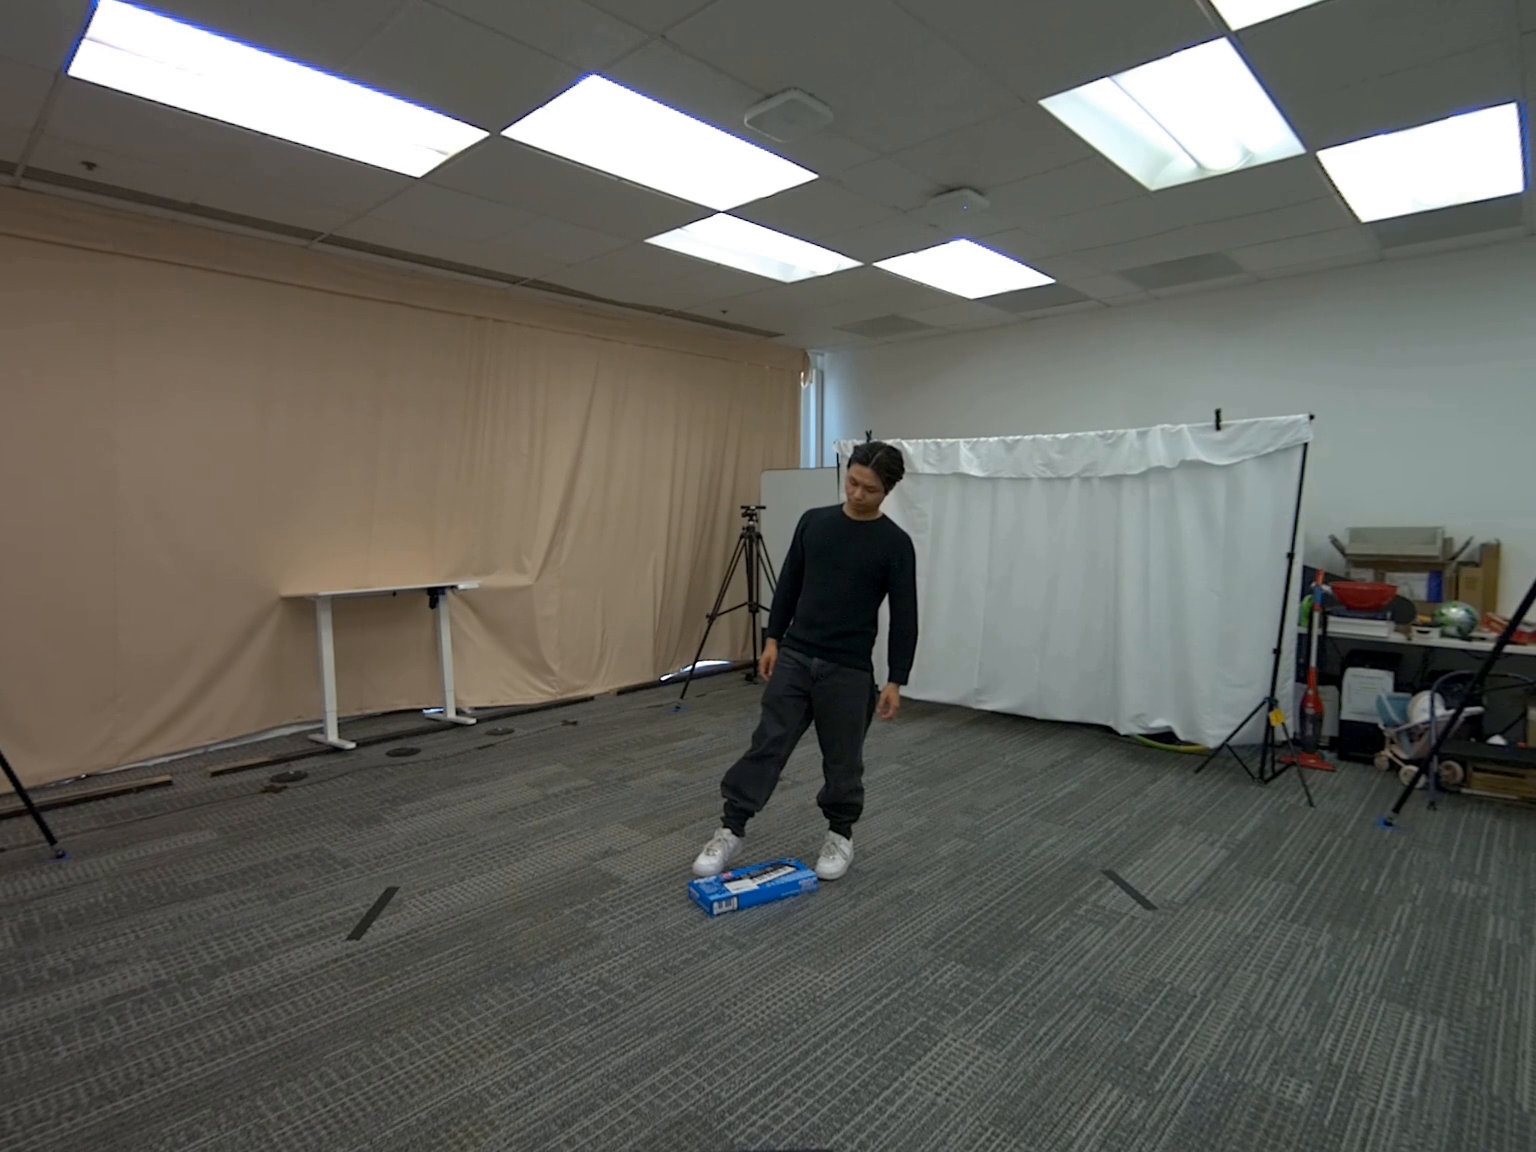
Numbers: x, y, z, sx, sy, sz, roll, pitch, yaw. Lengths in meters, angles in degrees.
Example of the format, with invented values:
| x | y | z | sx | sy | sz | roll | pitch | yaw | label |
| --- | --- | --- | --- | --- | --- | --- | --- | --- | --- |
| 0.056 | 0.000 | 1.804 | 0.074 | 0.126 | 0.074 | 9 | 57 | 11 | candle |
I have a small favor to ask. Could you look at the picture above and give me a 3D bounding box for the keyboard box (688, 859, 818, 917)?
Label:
| x | y | z | sx | sy | sz | roll | pitch | yaw | label |
| --- | --- | --- | --- | --- | --- | --- | --- | --- | --- |
| -0.045 | 1.111 | 3.019 | 0.426 | 0.059 | 0.181 | -4 | 5 | -28 | keyboard box |
